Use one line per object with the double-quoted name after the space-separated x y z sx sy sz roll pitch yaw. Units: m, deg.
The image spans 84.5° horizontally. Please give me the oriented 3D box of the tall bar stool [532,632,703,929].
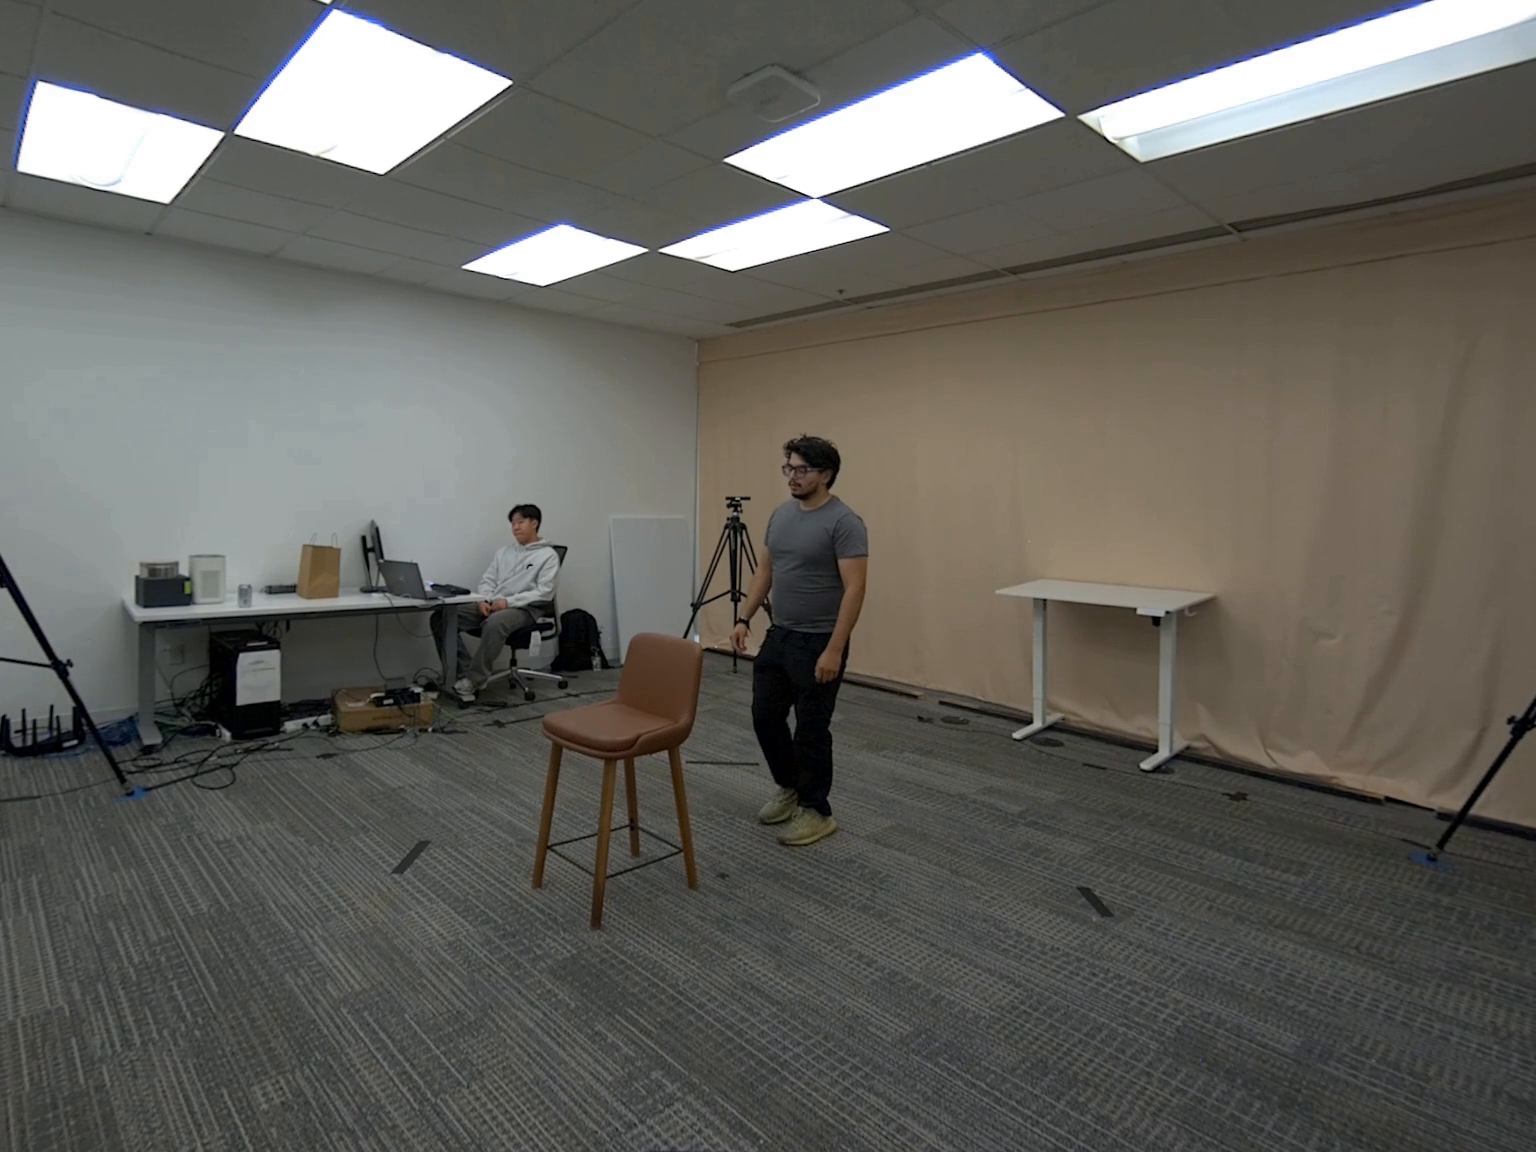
-0.529 0.676 2.971 0.456 0.889 0.468 0 3 -44 "tall bar stool"
